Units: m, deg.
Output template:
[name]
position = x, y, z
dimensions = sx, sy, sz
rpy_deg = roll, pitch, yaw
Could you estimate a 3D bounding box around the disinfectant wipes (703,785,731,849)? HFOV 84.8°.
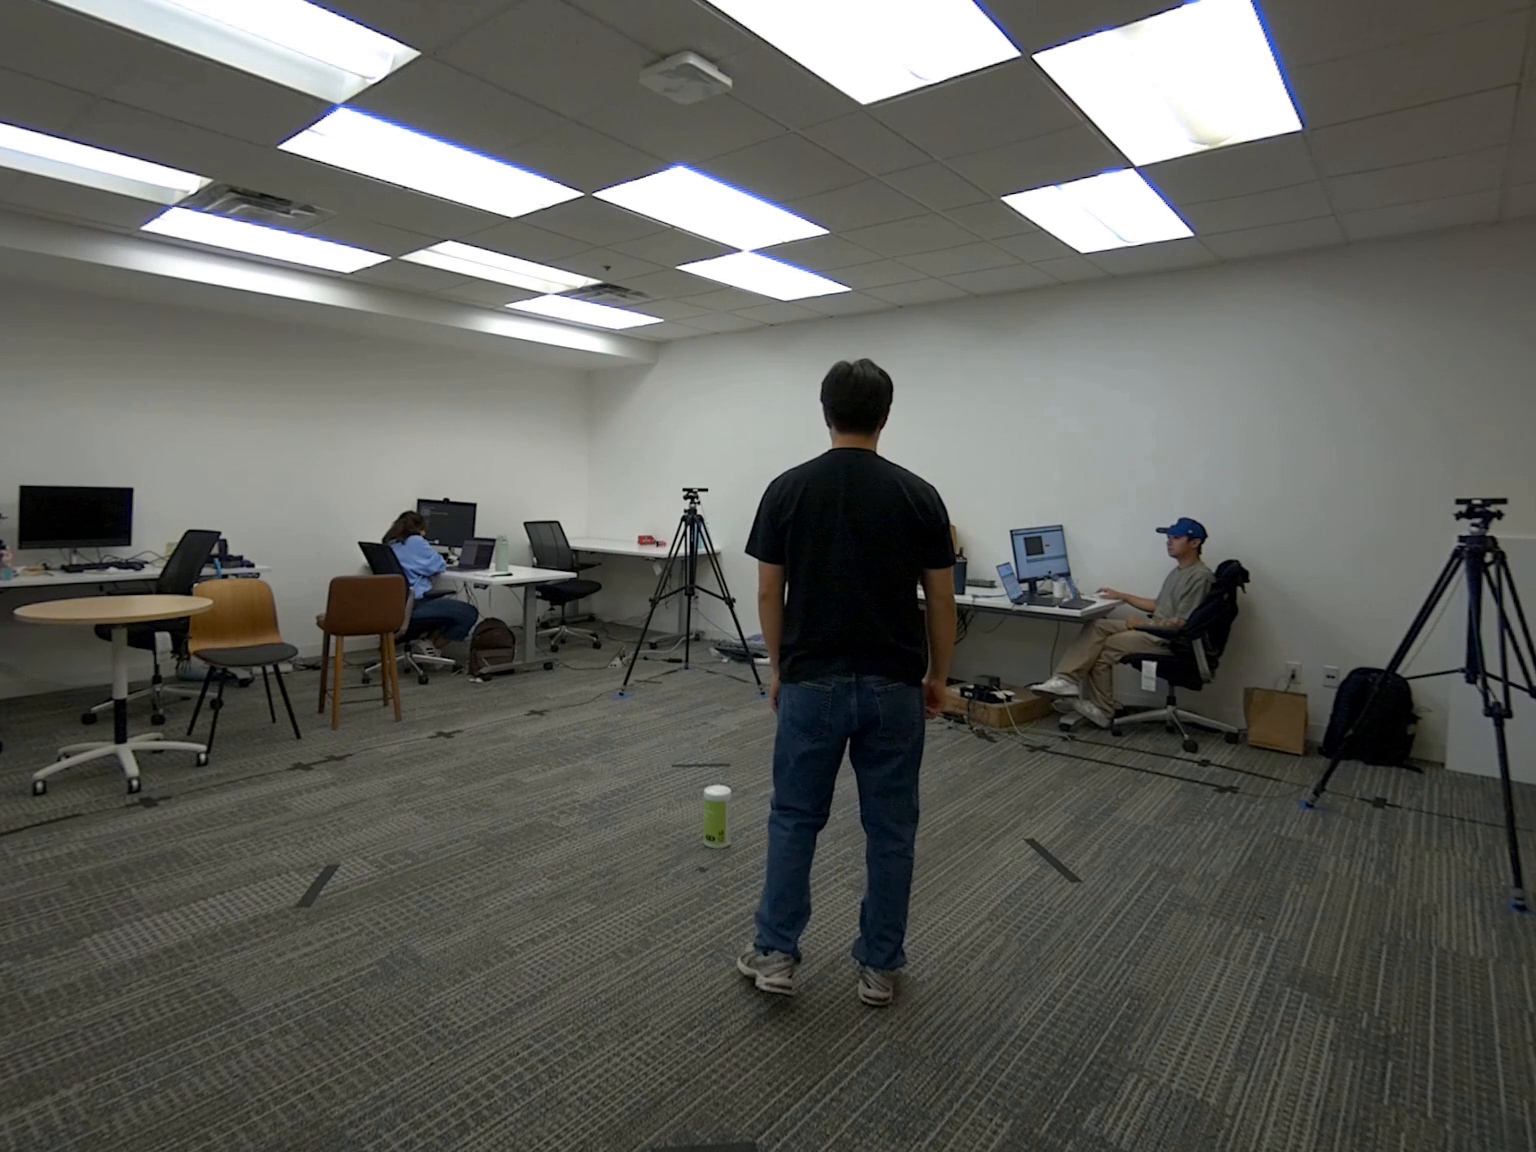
[disinfectant wipes]
position = -0.208, 0.938, 3.345
dimensions = 0.118, 0.217, 0.118
rpy_deg = -1, 4, -2
